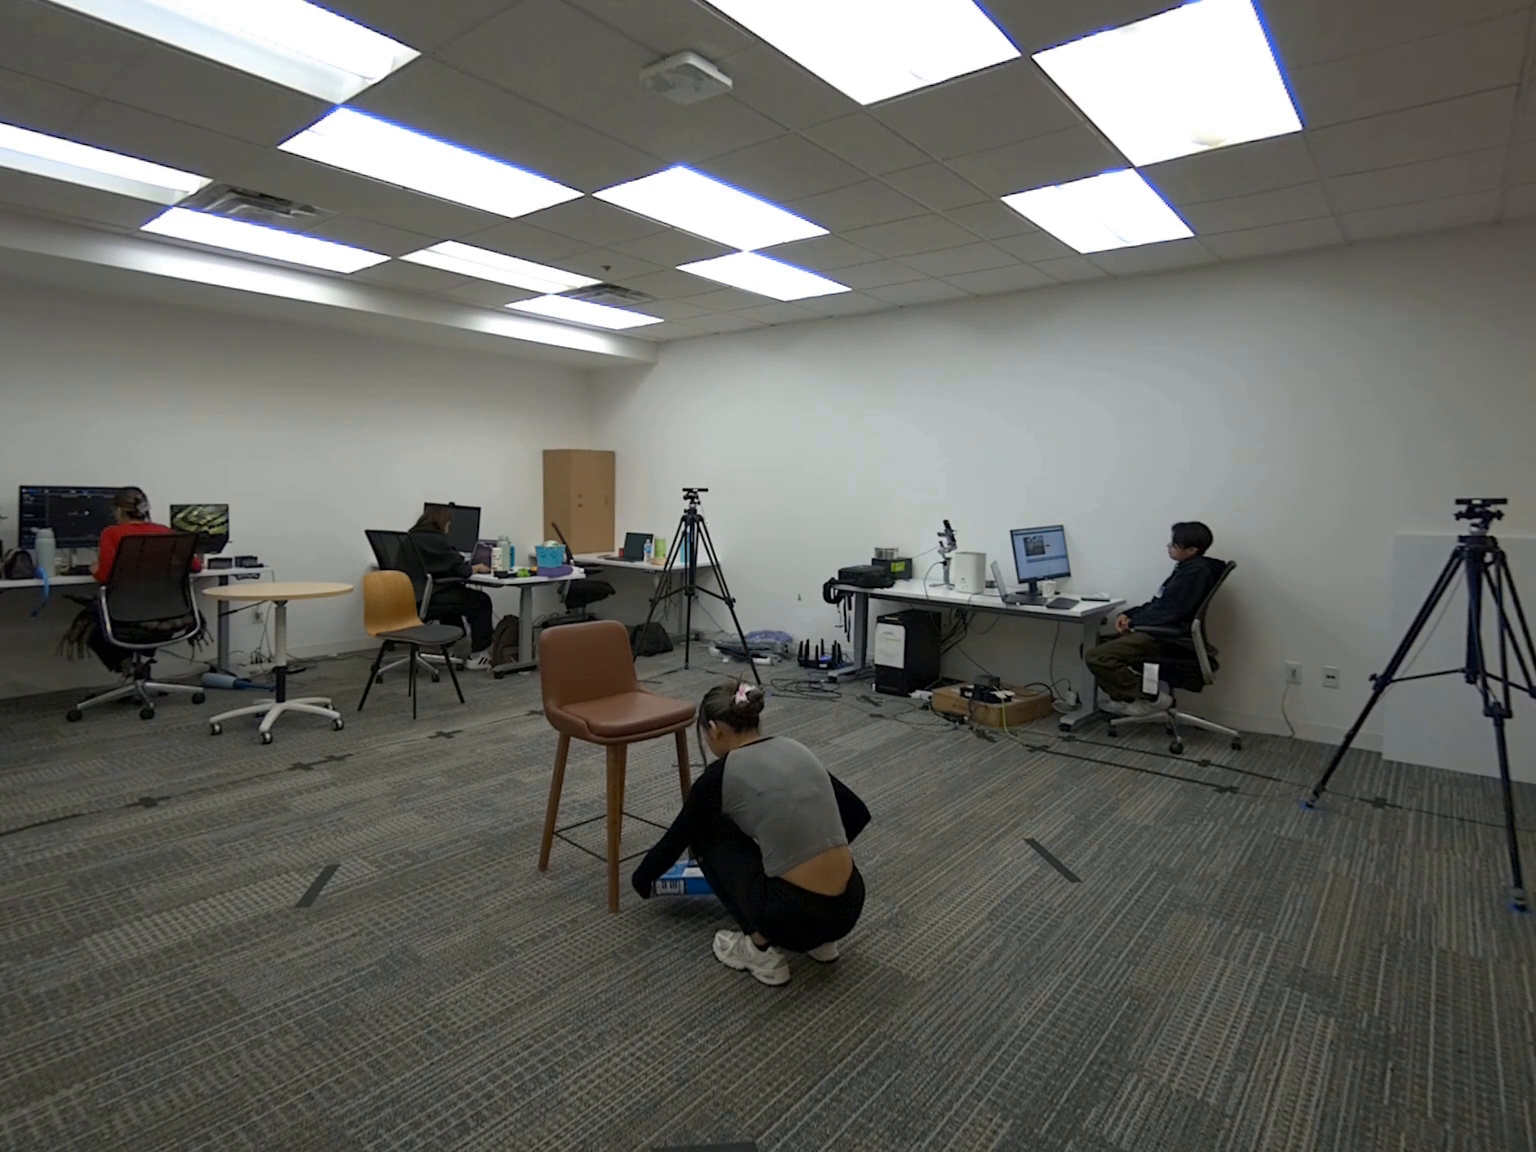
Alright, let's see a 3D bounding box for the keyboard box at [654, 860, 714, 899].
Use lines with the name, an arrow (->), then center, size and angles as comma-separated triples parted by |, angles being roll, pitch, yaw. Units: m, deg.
keyboard box -> -0.164, 0.991, 2.820 | 0.438, 0.059, 0.175 | -3, 0, 3
